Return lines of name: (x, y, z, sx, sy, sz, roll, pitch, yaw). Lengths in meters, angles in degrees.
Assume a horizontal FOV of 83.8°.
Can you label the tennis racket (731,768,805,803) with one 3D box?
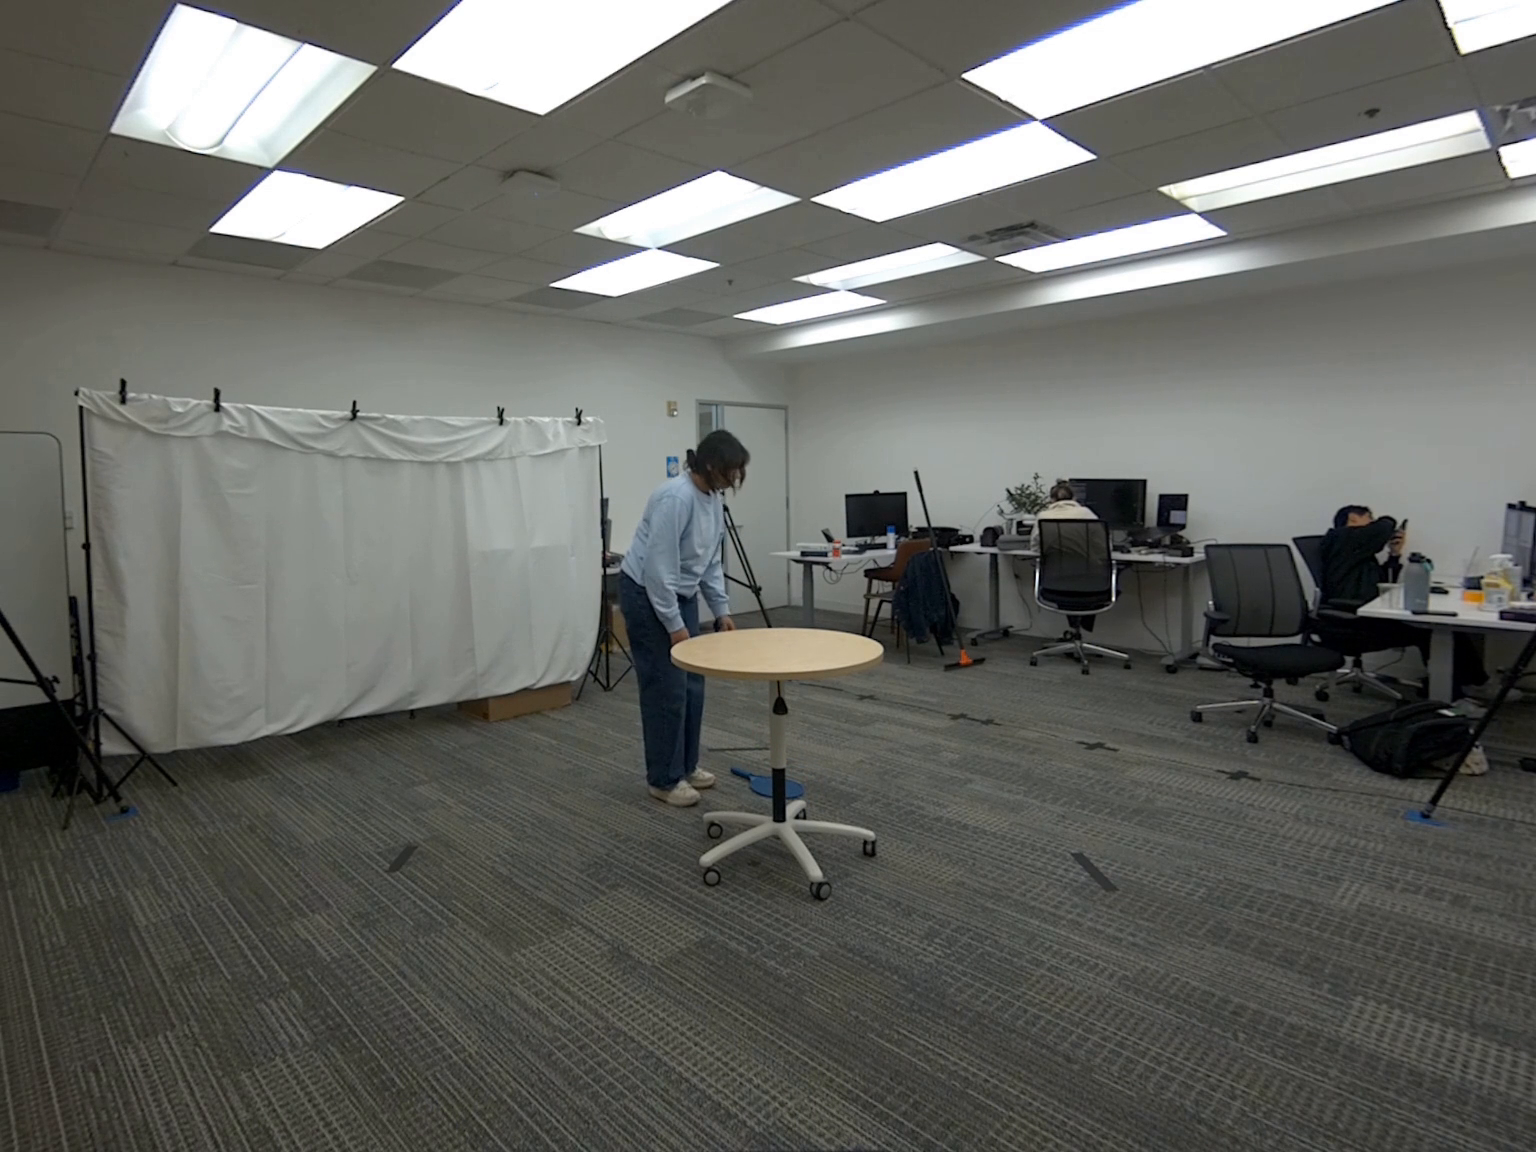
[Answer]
tennis racket: (-0.022, 0.938, 3.897, 0.208, 0.031, 0.447, -5, 9, -43)
